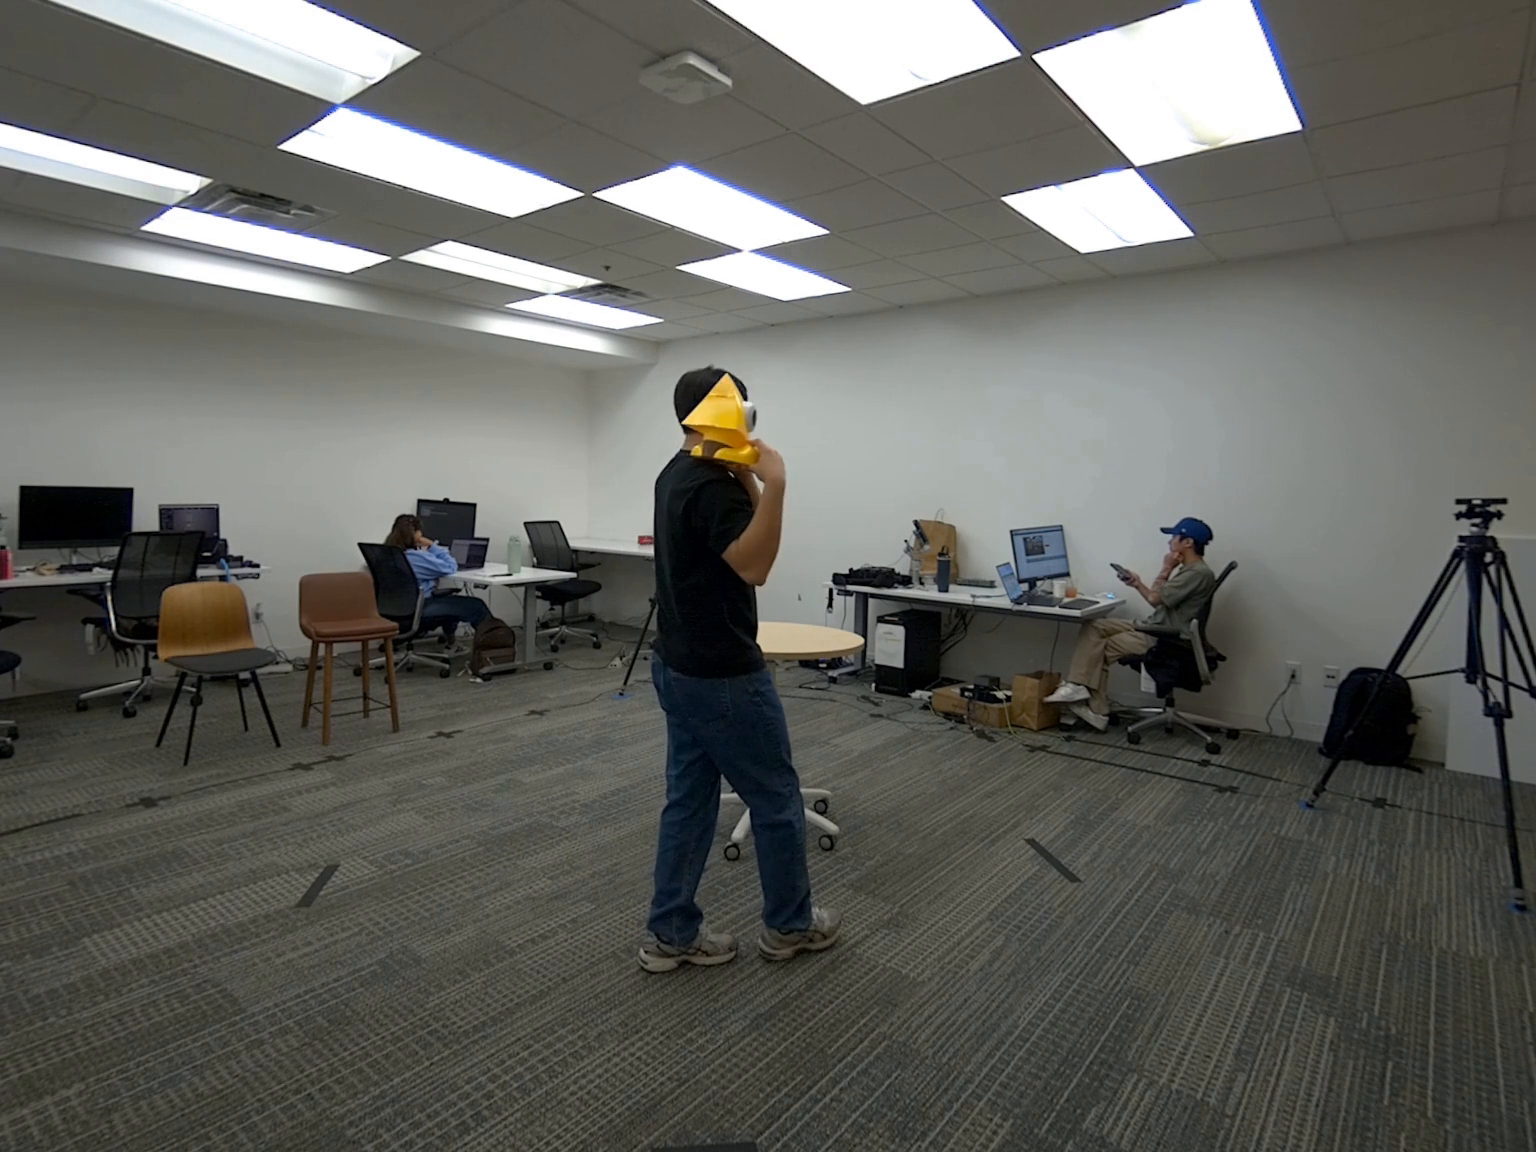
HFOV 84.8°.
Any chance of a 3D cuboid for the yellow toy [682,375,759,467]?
[{"bbox_3d":[-0.100,-0.428,2.321,0.212,0.230,0.186,12,1,40],"label":"yellow toy"}]
